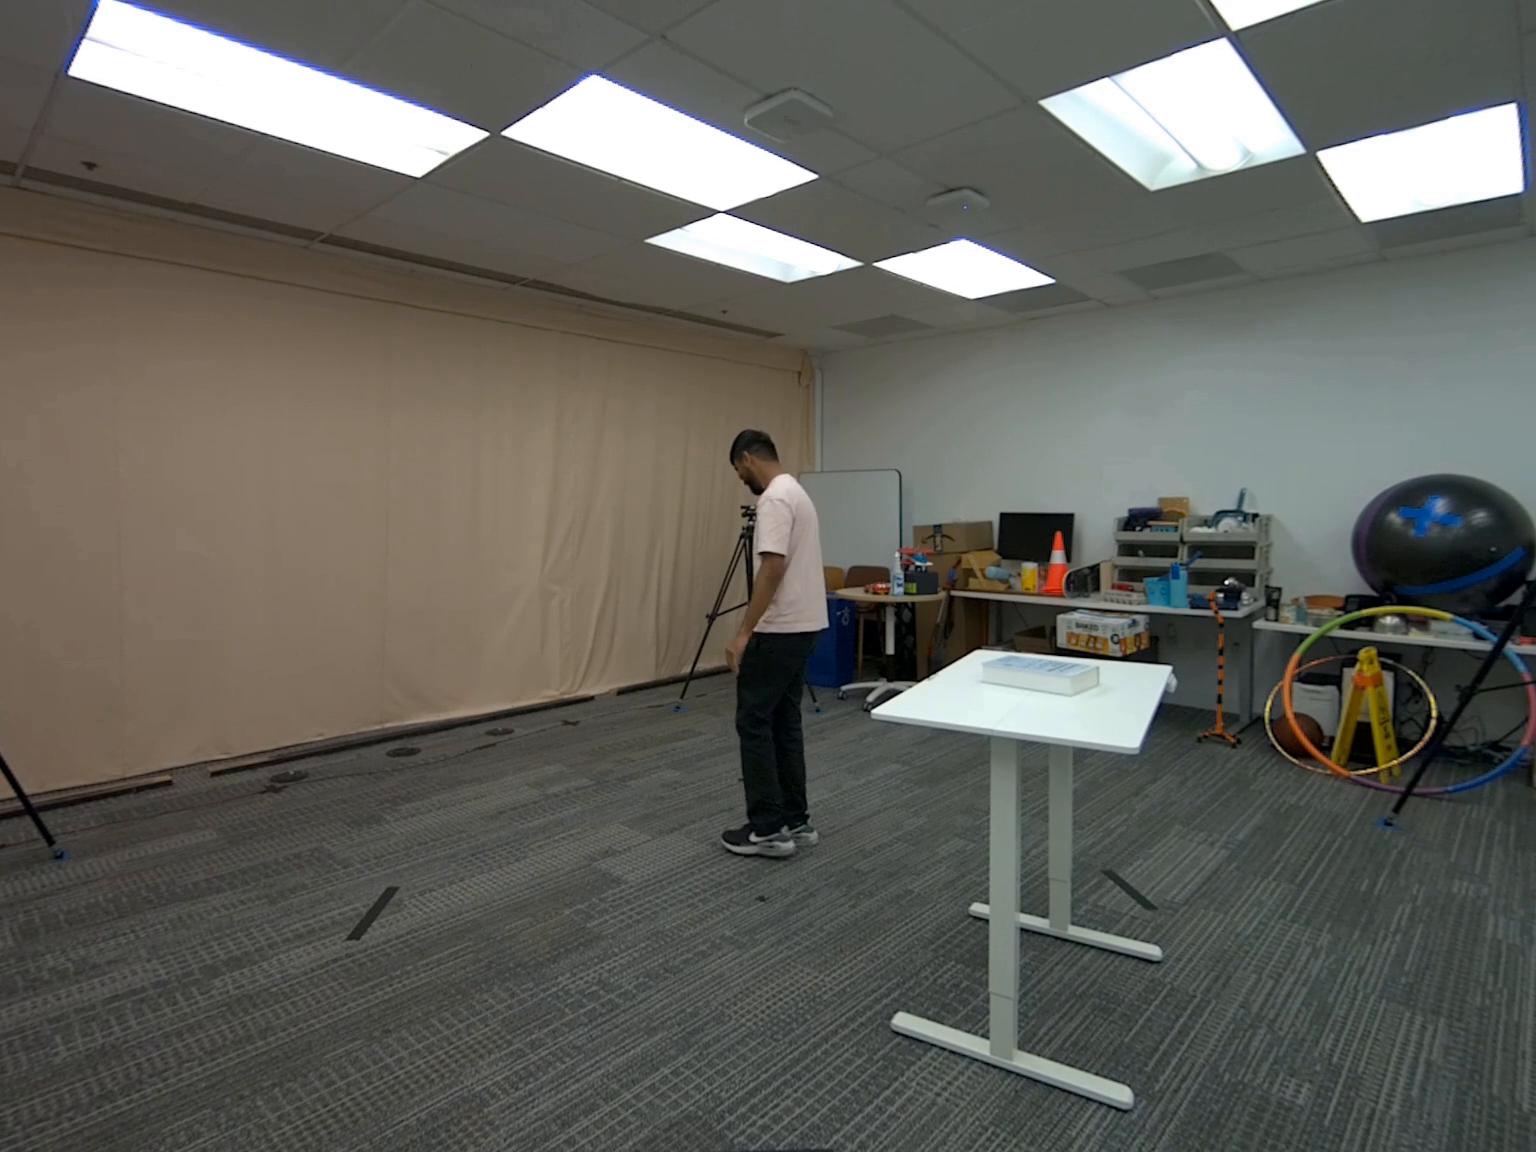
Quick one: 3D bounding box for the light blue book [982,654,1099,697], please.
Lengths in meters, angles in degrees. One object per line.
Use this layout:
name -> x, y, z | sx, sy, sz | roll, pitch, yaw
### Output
light blue book -> 0.781, 0.281, 2.381 | 0.270, 0.059, 0.185 | 4, 7, 43
